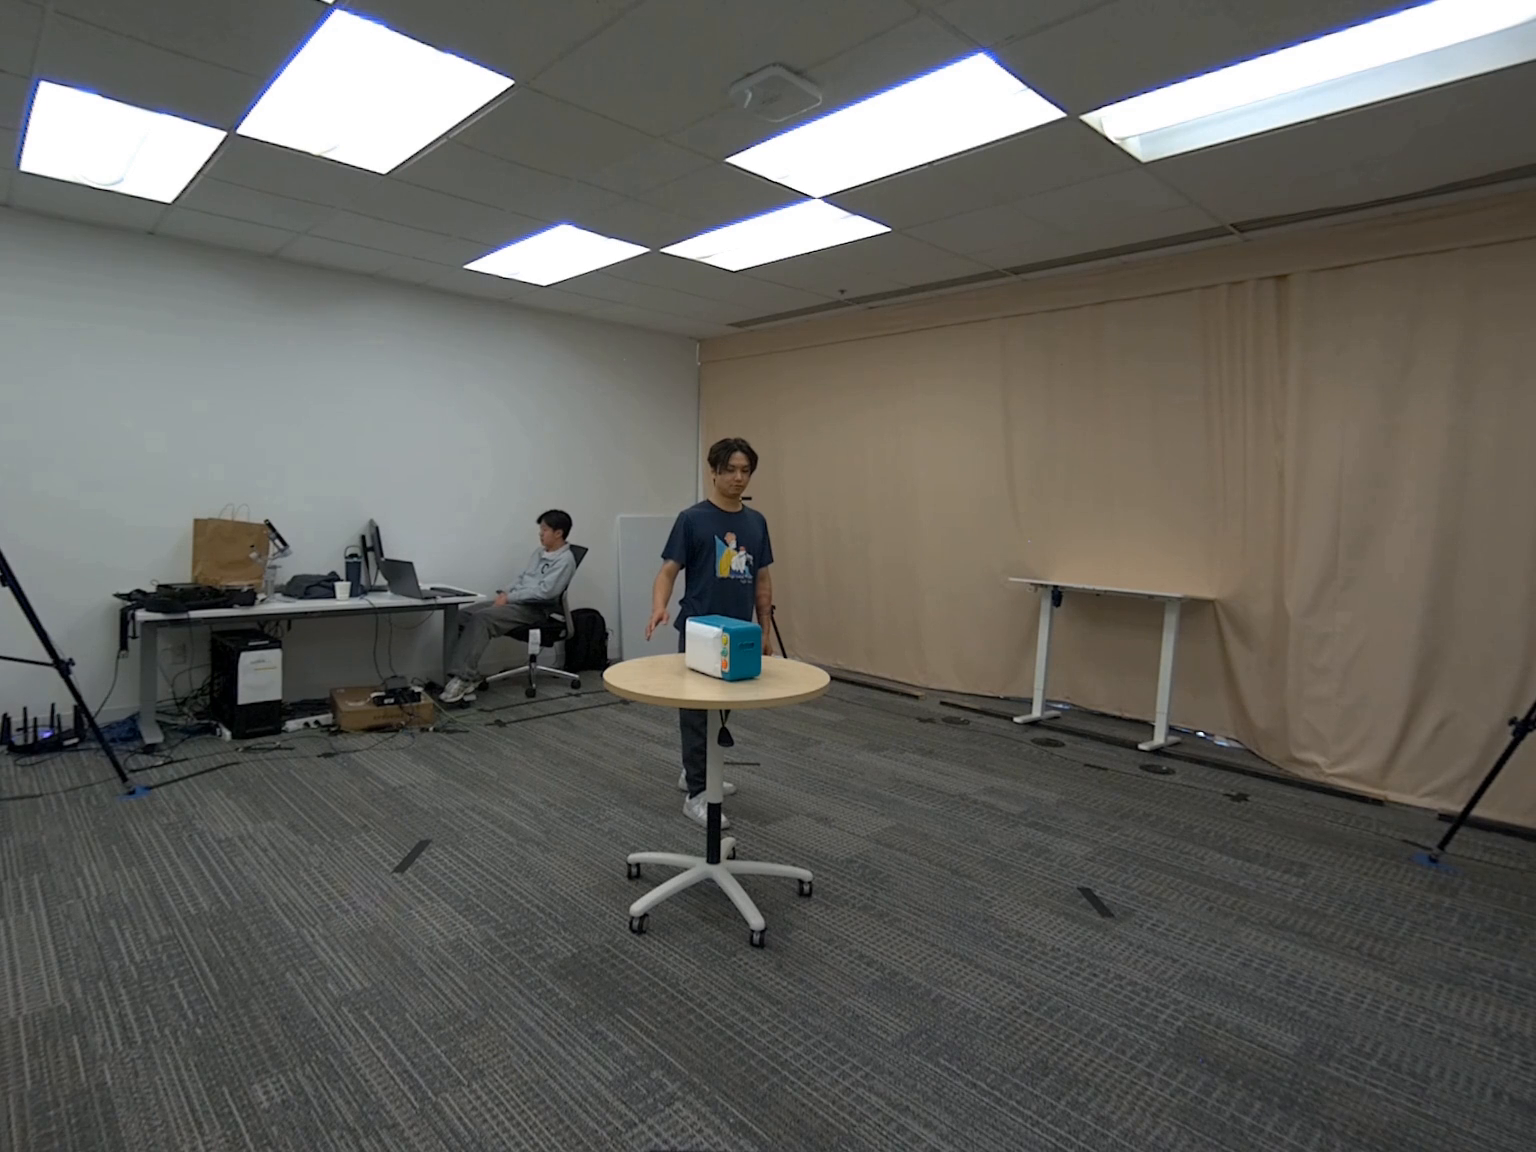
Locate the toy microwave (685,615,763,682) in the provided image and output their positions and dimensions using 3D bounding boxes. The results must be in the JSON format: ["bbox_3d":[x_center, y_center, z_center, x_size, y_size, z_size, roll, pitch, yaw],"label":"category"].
[{"bbox_3d":[-0.166,0.242,2.844,0.149,0.183,0.293,-2,5,-36],"label":"toy microwave"}]
